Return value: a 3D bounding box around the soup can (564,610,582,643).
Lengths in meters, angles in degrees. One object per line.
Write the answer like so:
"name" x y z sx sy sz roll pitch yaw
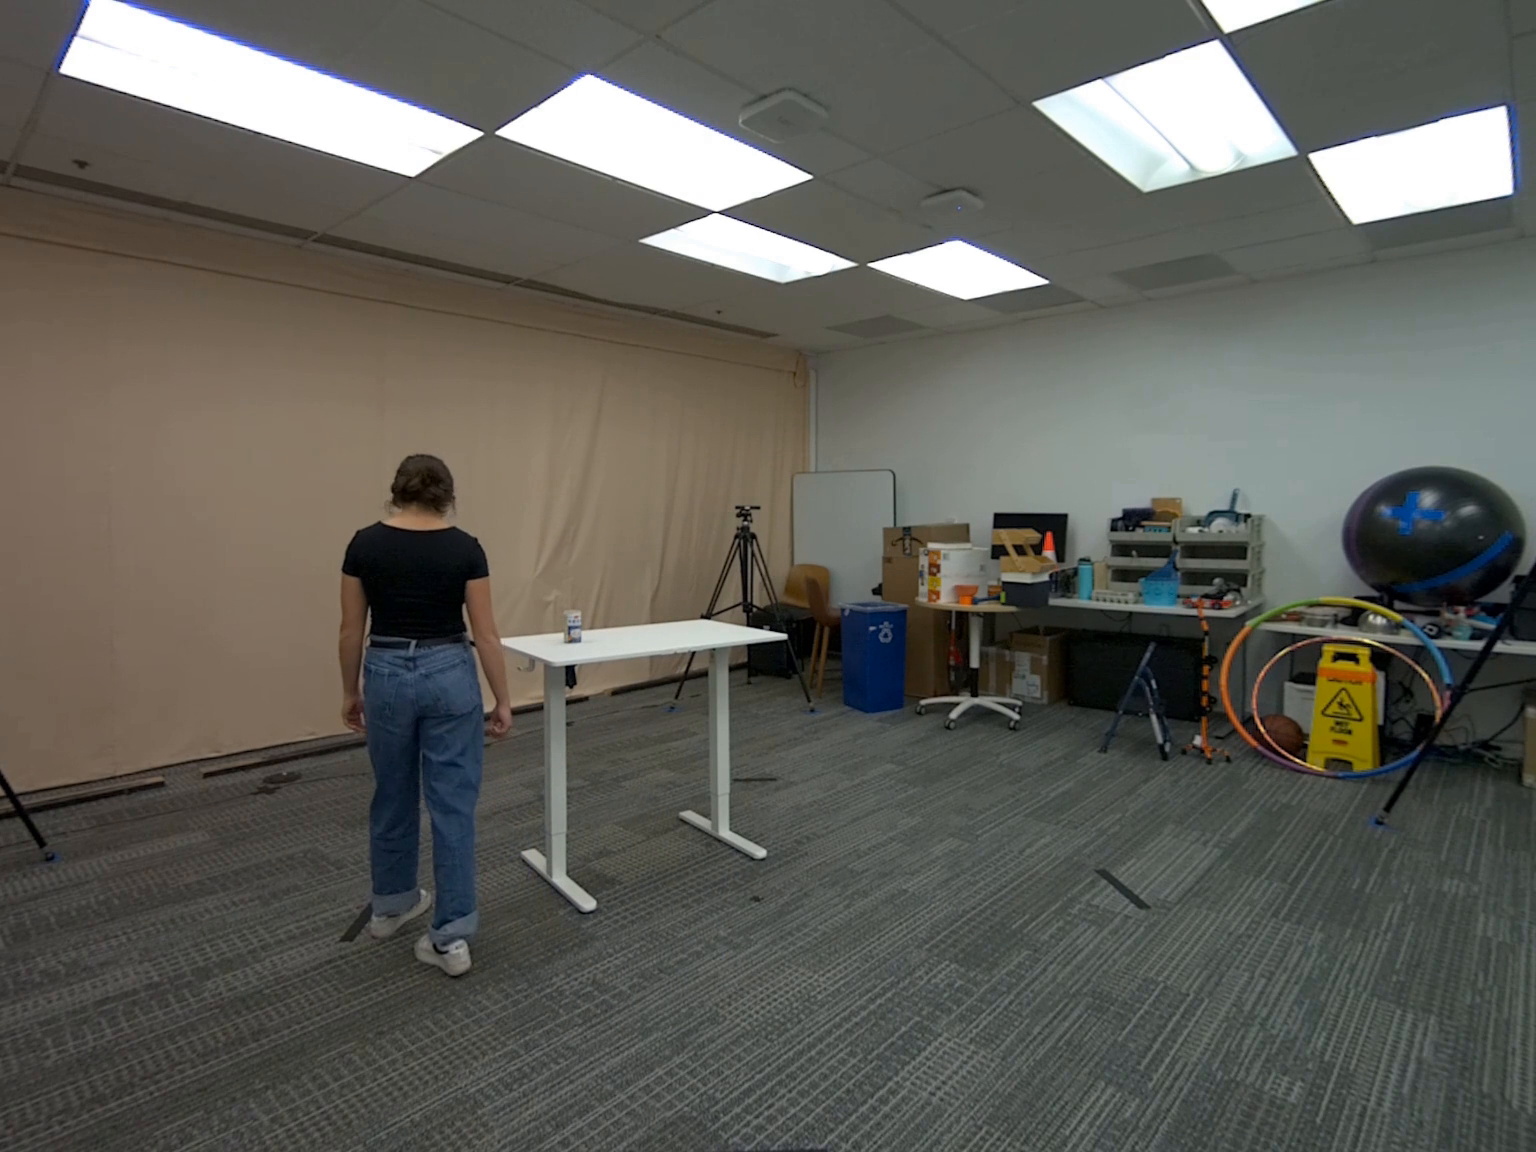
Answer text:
"soup can" -0.739 0.194 3.183 0.067 0.121 0.067 3 1 -2
